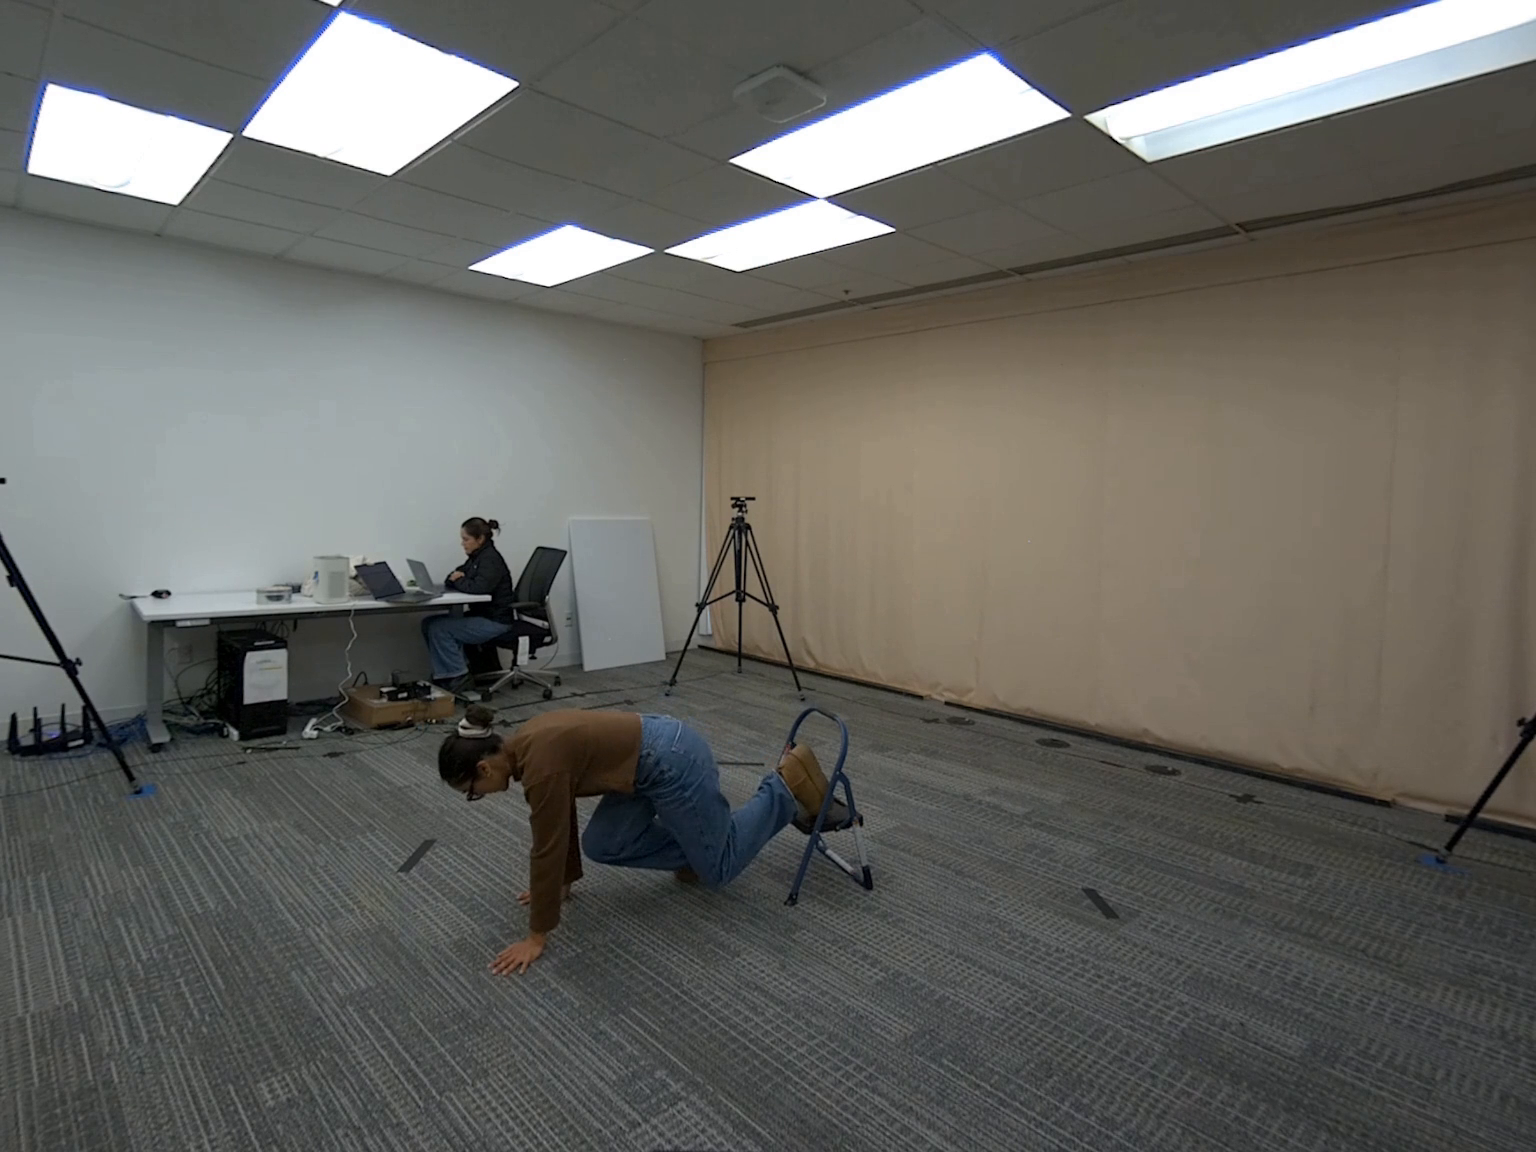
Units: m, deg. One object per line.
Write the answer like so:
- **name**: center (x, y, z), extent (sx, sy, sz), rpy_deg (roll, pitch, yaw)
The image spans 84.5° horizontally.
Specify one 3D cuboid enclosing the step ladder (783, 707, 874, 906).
- **step ladder**: center (0.143, 0.810, 3.125), extent (0.343, 0.605, 0.439), rpy_deg (0, 4, -24)
